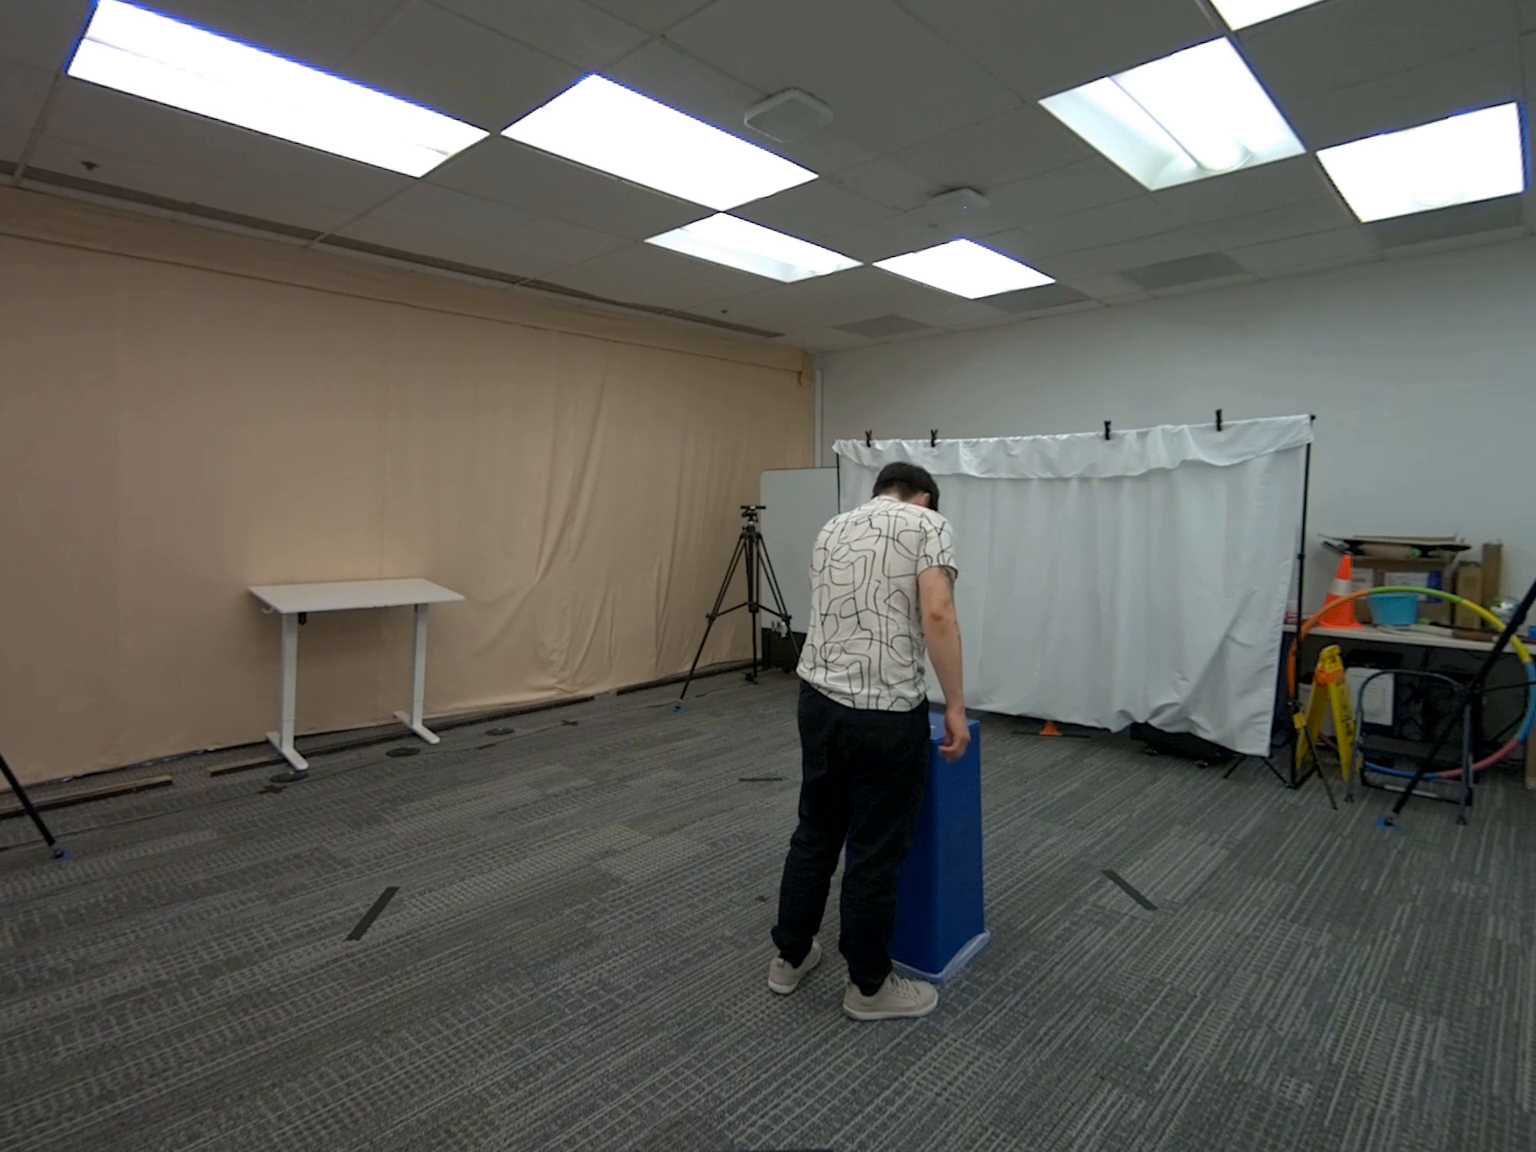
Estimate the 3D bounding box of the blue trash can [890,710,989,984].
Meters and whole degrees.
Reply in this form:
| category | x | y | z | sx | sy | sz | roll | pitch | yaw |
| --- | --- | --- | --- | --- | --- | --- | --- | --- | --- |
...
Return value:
| category | x | y | z | sx | sy | sz | roll | pitch | yaw |
| --- | --- | --- | --- | --- | --- | --- | --- | --- | --- |
| blue trash can | 0.477 | 0.815 | 2.665 | 0.386 | 0.711 | 0.367 | 4 | 6 | 41 |
